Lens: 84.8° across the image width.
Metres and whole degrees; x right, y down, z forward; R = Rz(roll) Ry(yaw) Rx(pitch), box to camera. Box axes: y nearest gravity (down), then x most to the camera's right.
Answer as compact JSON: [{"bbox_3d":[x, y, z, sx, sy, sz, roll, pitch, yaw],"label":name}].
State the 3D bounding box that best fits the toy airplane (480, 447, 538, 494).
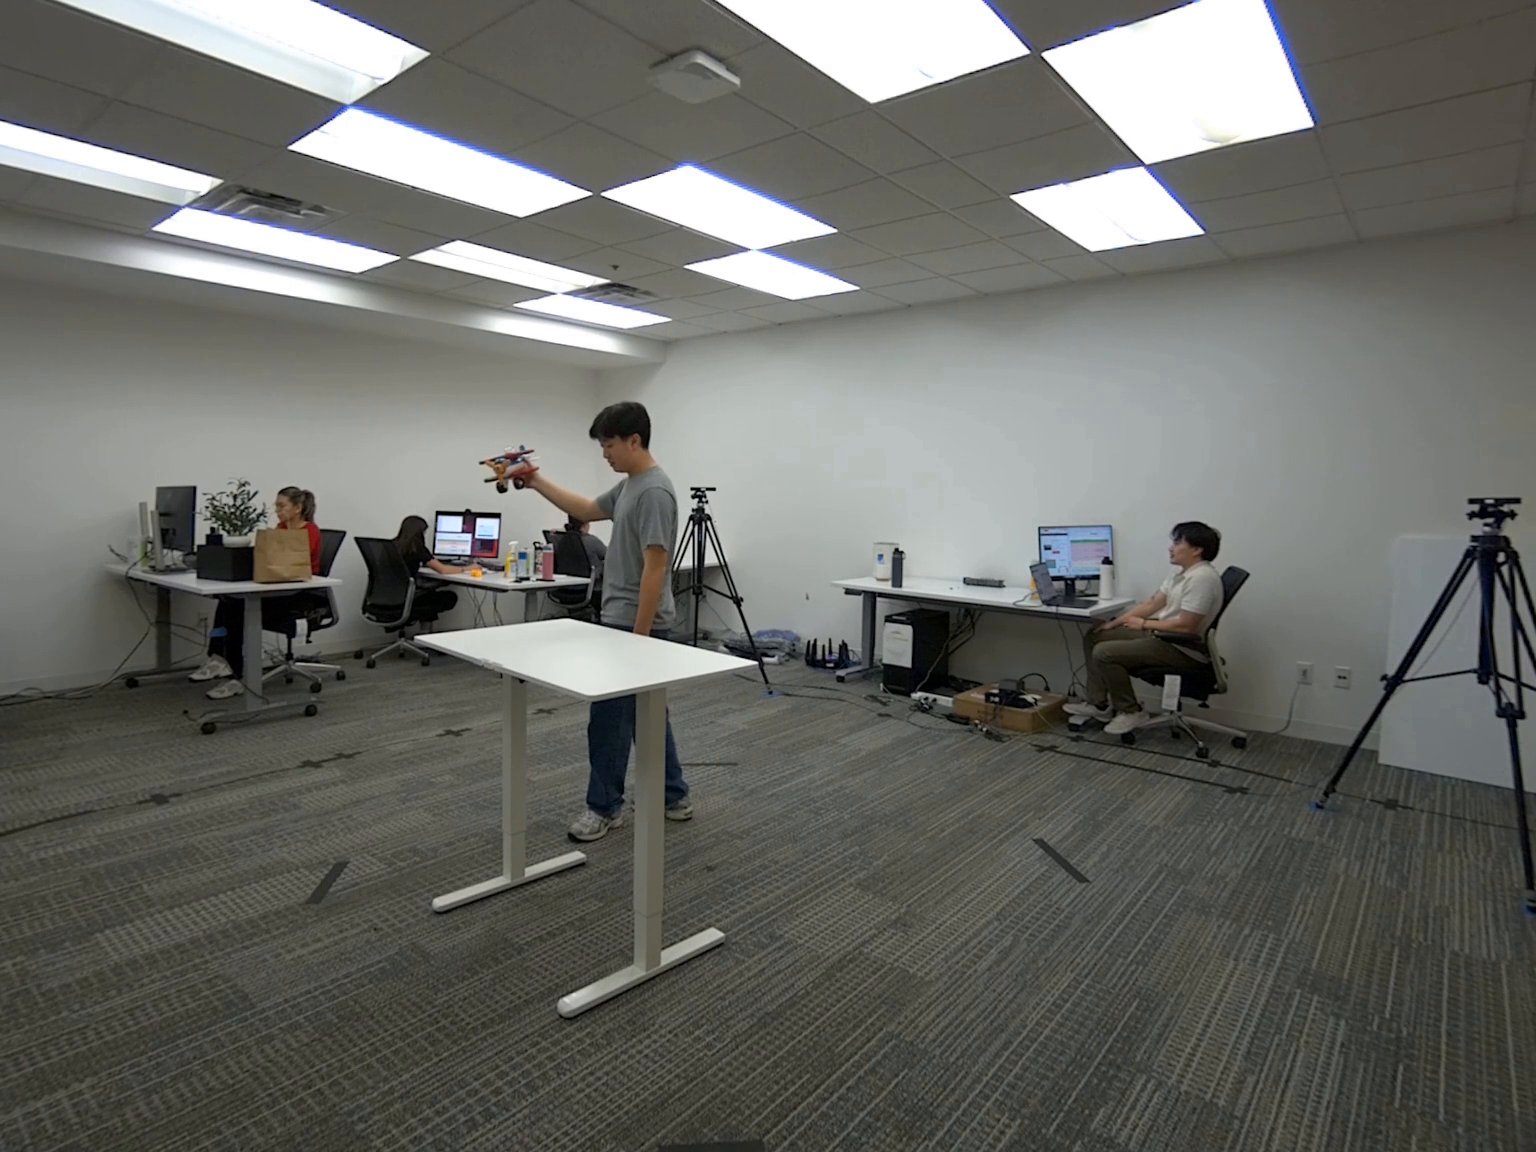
[{"bbox_3d":[-1.127,-0.476,3.672,0.250,0.152,0.268,-23,27,-7],"label":"toy airplane"}]
